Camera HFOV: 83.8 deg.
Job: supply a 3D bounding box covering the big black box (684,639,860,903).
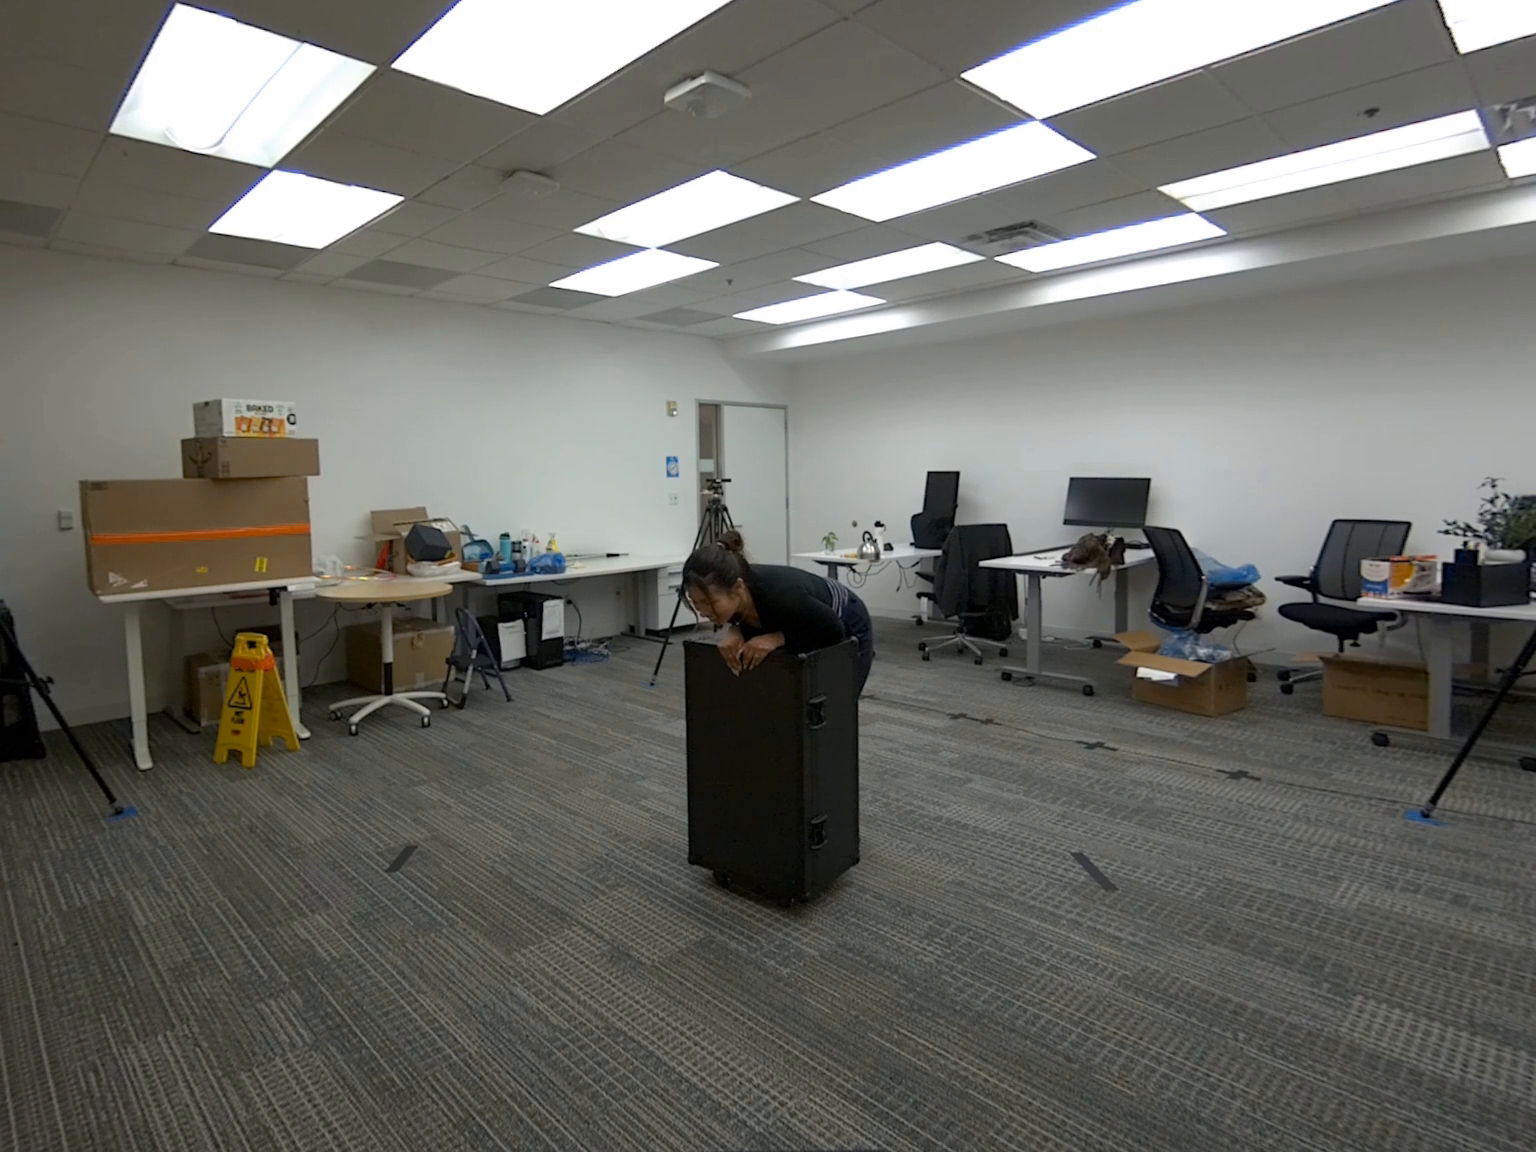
[{"bbox_3d":[0.012,0.639,2.938,0.536,0.859,0.386,1,4,36],"label":"big black box"}]
